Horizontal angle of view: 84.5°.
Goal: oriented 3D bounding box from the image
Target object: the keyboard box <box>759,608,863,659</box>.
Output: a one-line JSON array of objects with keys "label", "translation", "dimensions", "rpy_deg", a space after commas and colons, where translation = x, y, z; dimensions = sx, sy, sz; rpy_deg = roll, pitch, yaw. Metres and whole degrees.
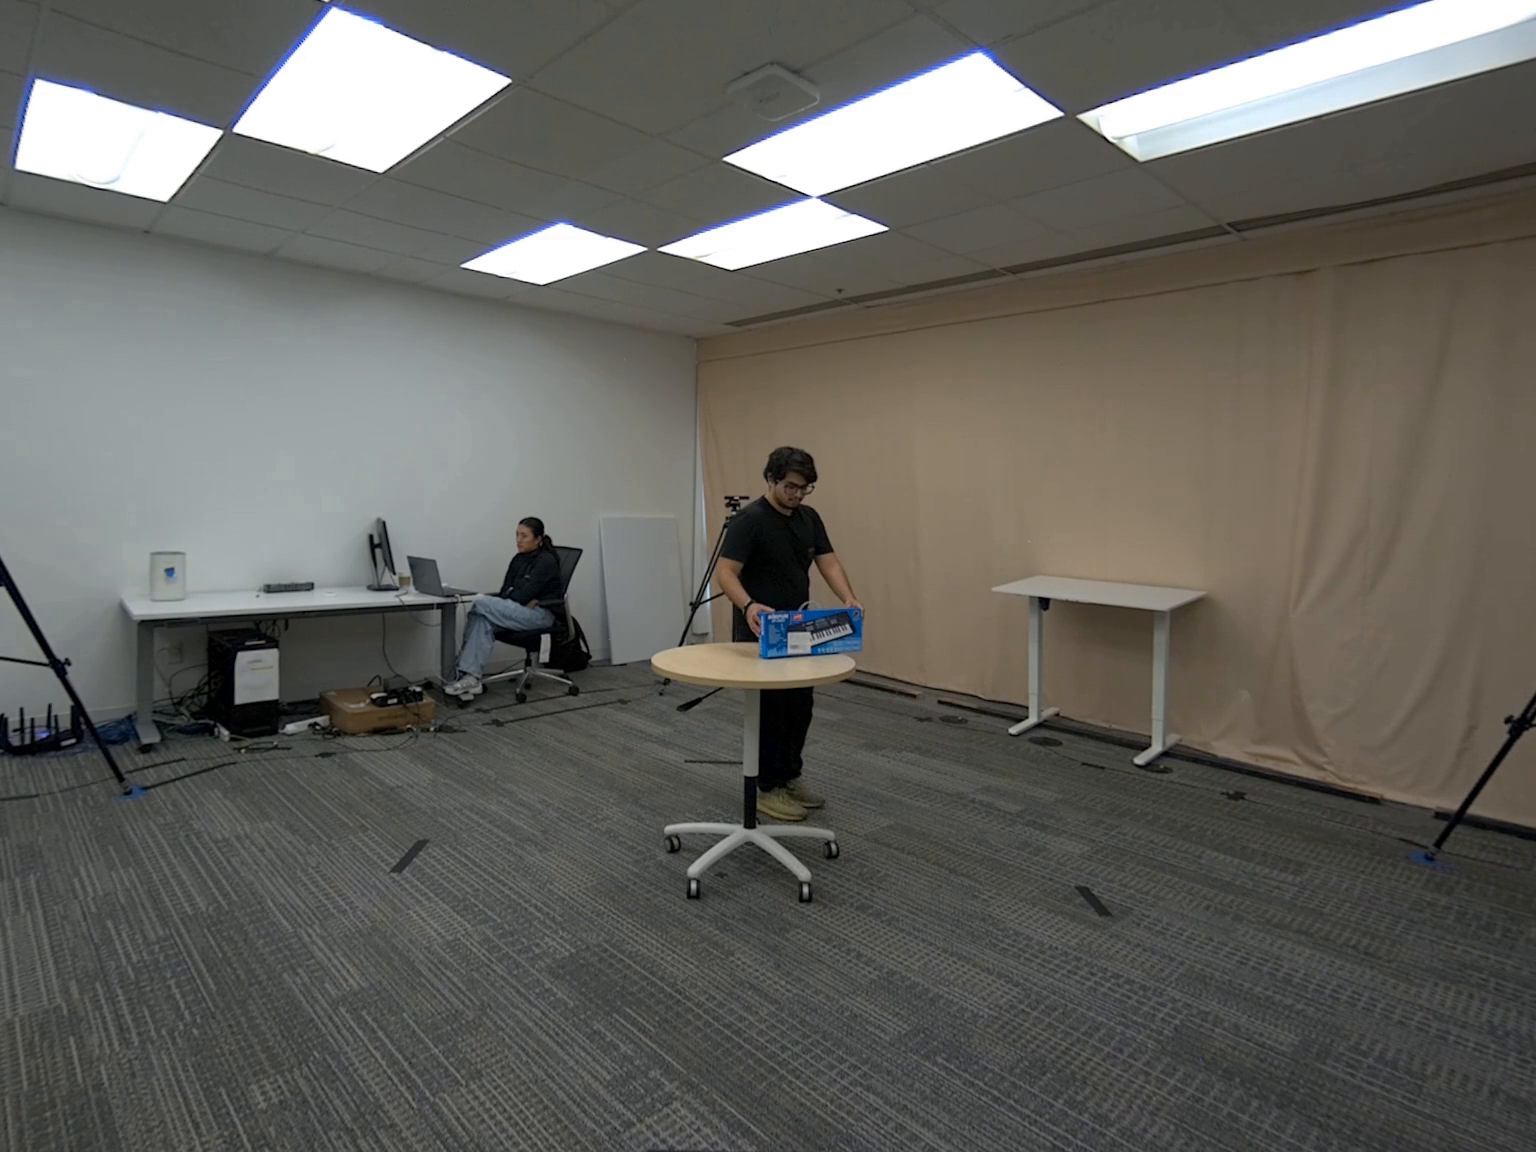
[{"label": "keyboard box", "translation": [0.164, 0.224, 3.290], "dimensions": [0.429, 0.176, 0.060], "rpy_deg": [-2, -1, -26]}]
